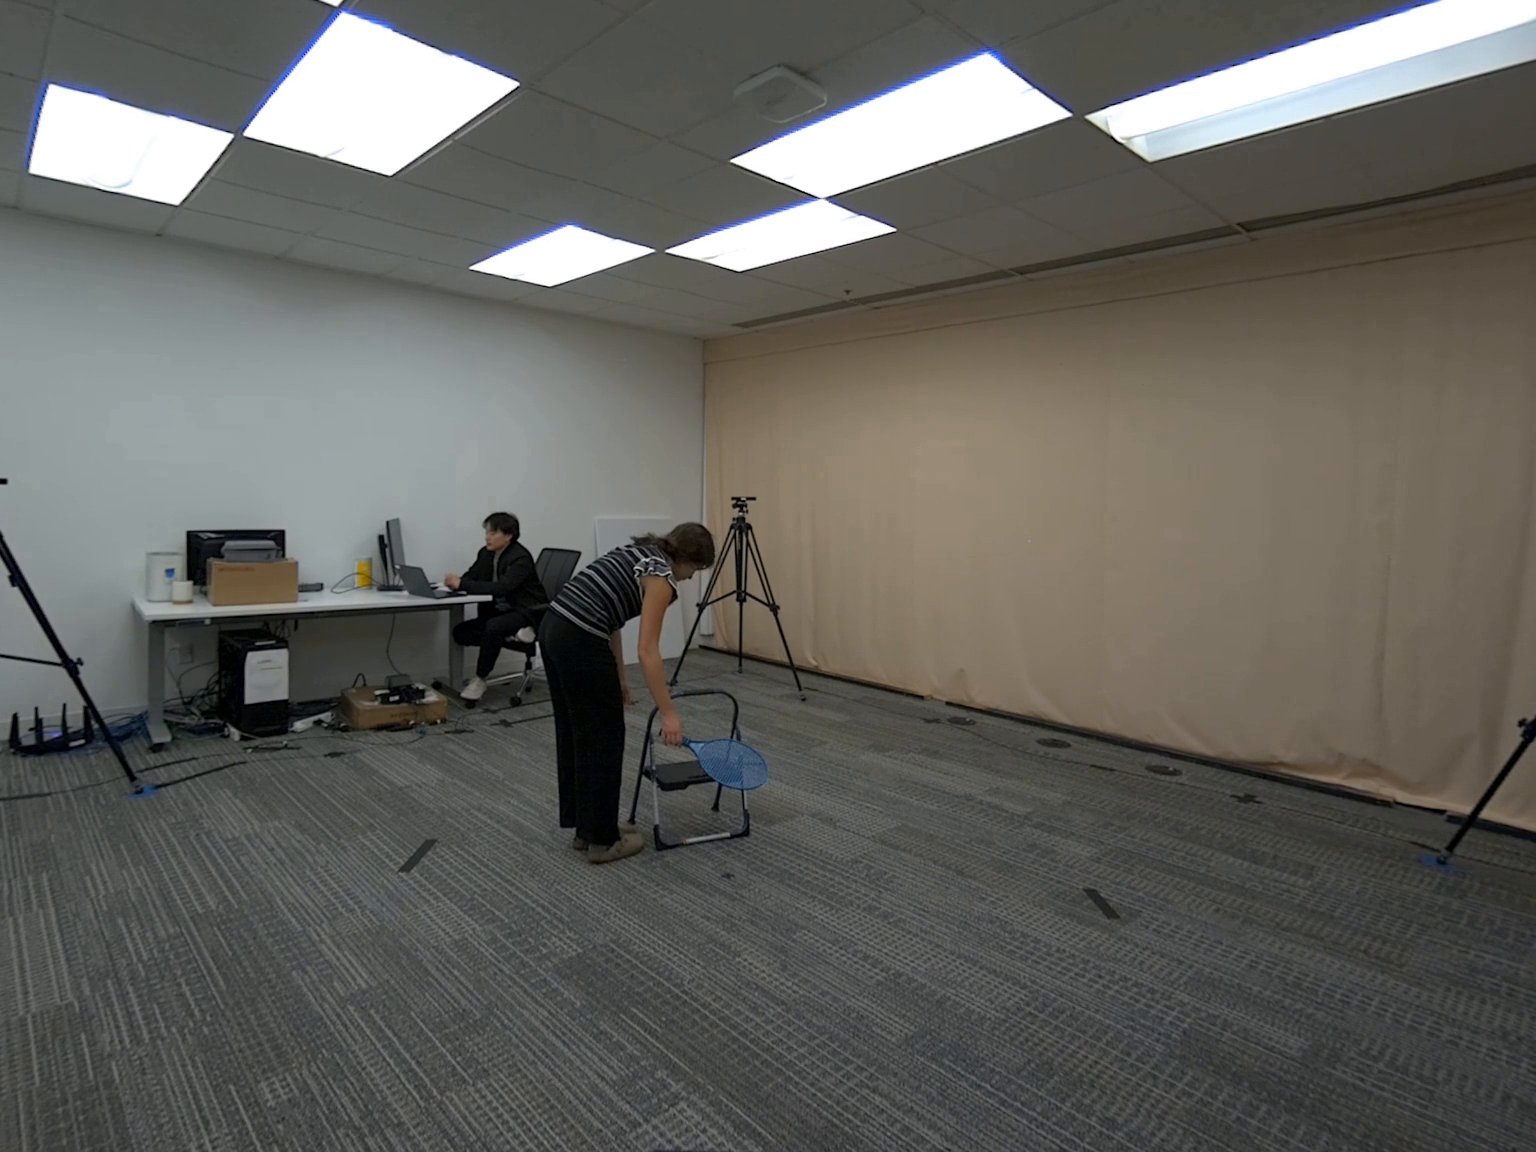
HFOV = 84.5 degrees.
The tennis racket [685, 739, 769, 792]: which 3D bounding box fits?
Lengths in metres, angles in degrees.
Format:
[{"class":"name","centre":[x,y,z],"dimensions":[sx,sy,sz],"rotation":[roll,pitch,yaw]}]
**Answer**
[{"class":"tennis racket","centre":[-0.215,0.658,3.126],"dimensions":[0.439,0.031,0.214],"rotation":[23,38,14]}]
